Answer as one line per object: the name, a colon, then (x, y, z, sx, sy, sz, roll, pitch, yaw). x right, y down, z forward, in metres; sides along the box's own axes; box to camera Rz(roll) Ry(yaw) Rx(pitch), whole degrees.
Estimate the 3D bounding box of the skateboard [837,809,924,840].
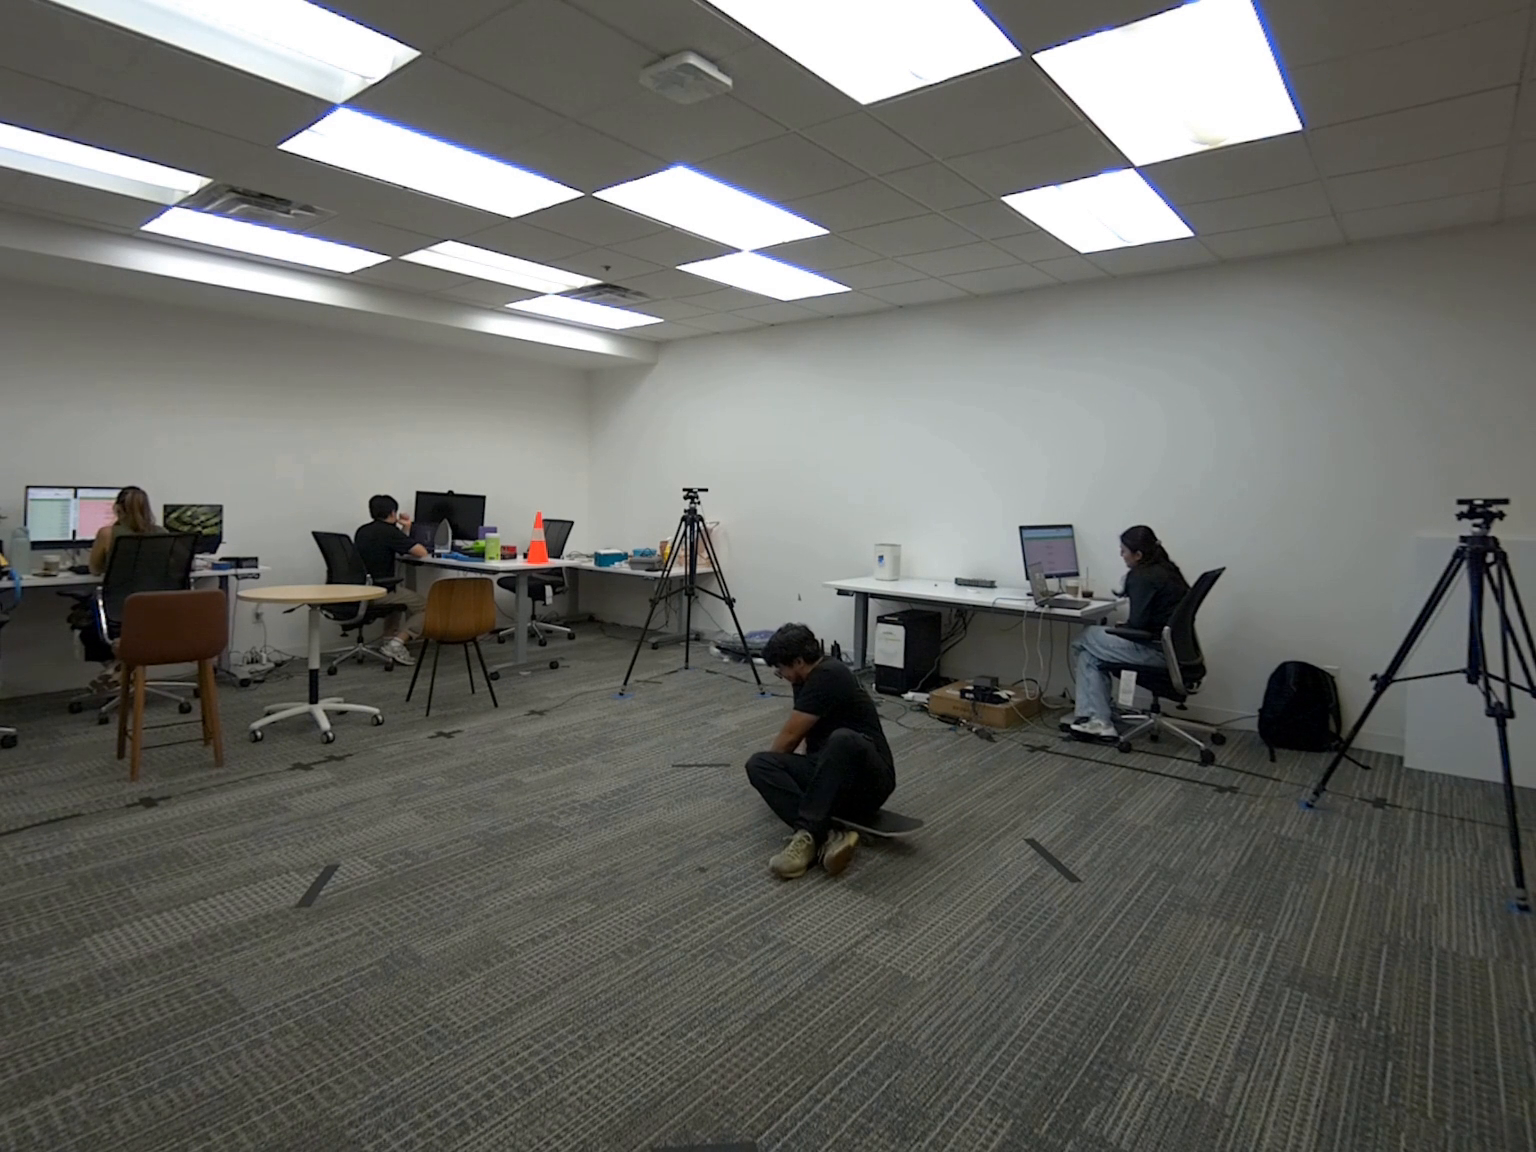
skateboard: (0.279, 0.984, 3.537, 0.813, 0.110, 0.188, 7, 10, 42)
